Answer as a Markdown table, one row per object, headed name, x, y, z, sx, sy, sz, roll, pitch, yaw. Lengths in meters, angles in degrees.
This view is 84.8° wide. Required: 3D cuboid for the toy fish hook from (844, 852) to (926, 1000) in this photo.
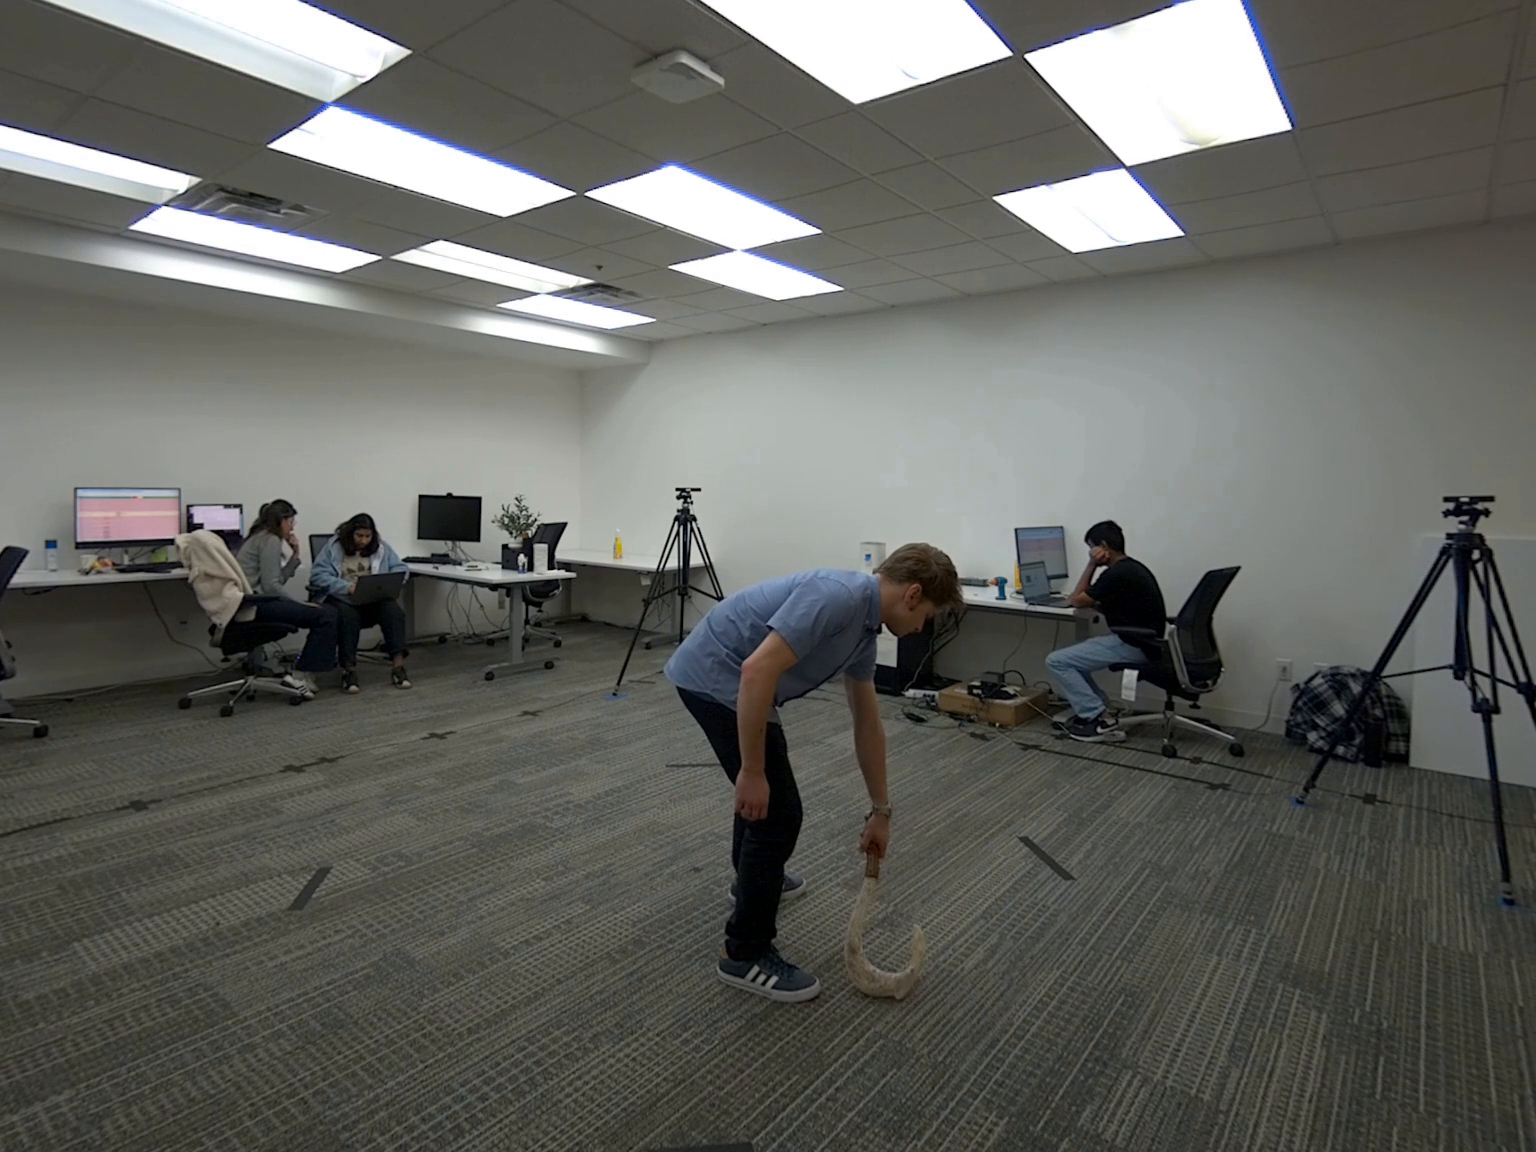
| name | x | y | z | sx | sy | sz | roll | pitch | yaw |
| --- | --- | --- | --- | --- | --- | --- | --- | --- | --- |
| toy fish hook | 0.343 | 0.942 | 2.477 | 0.227 | 0.518 | 0.047 | 2 | -33 | 8 |
